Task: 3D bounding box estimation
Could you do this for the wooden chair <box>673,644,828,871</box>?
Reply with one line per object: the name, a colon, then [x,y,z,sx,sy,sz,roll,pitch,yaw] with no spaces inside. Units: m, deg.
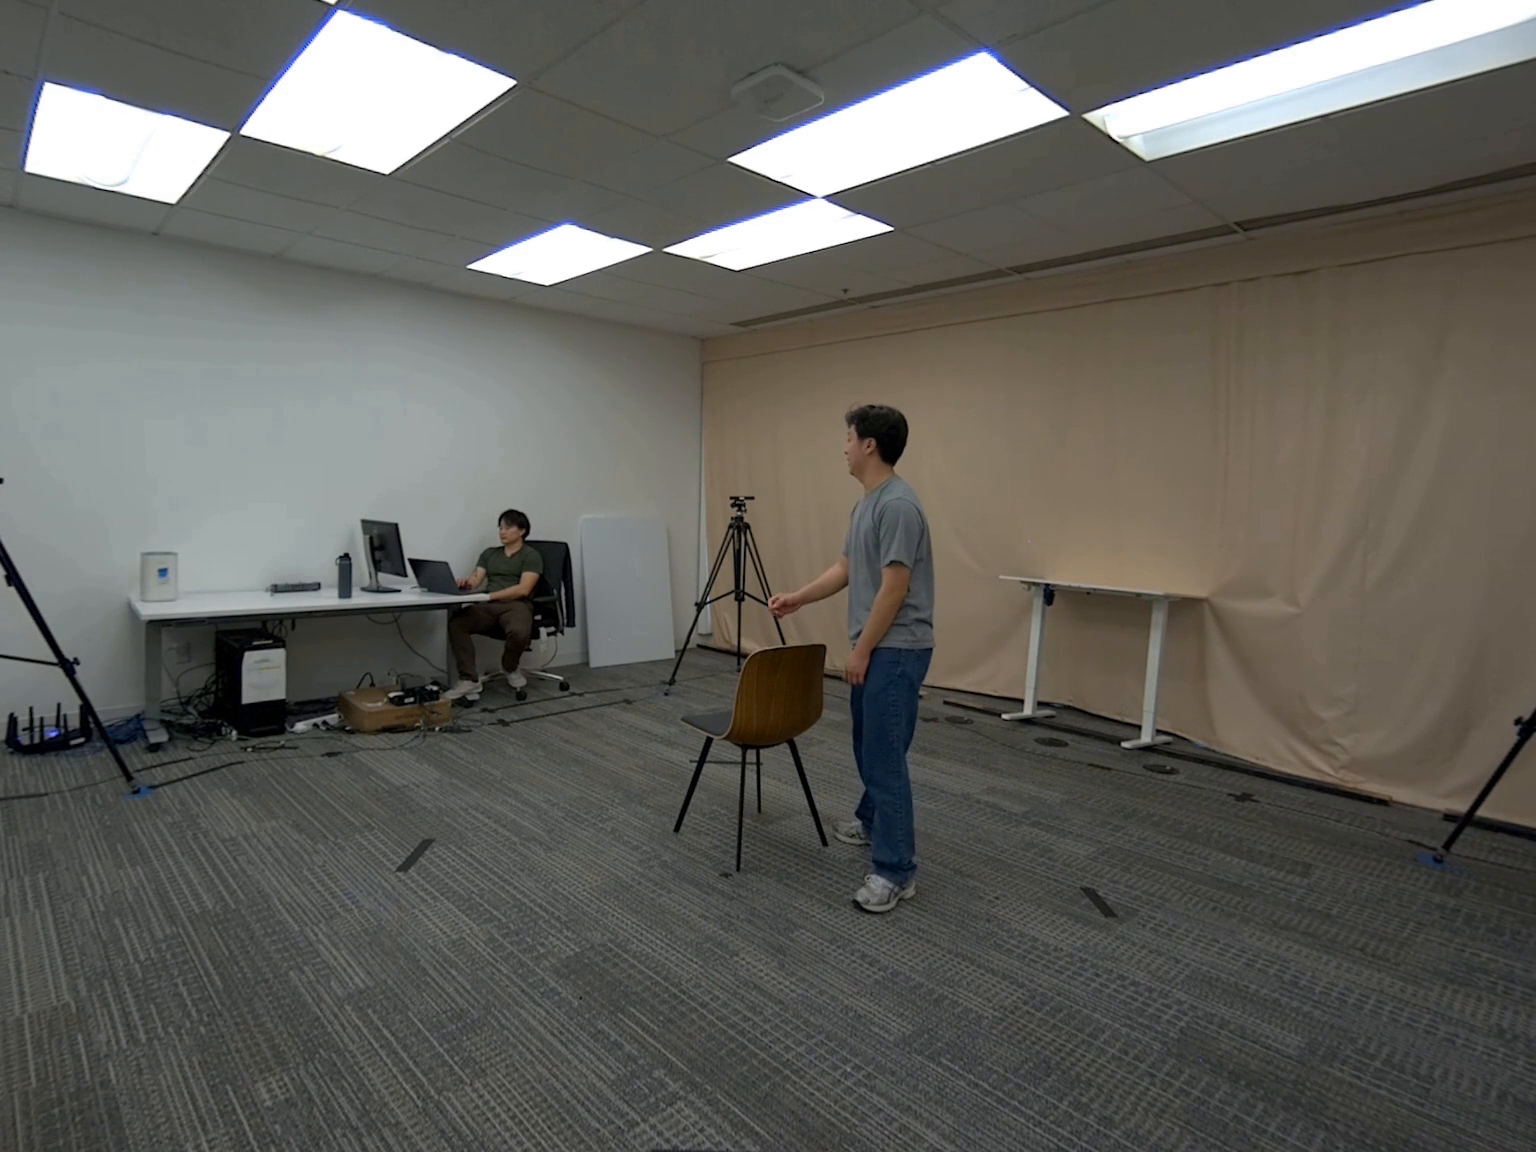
wooden chair: [-0.077,0.651,3.416,0.467,0.873,0.537,-1,8,-37]
